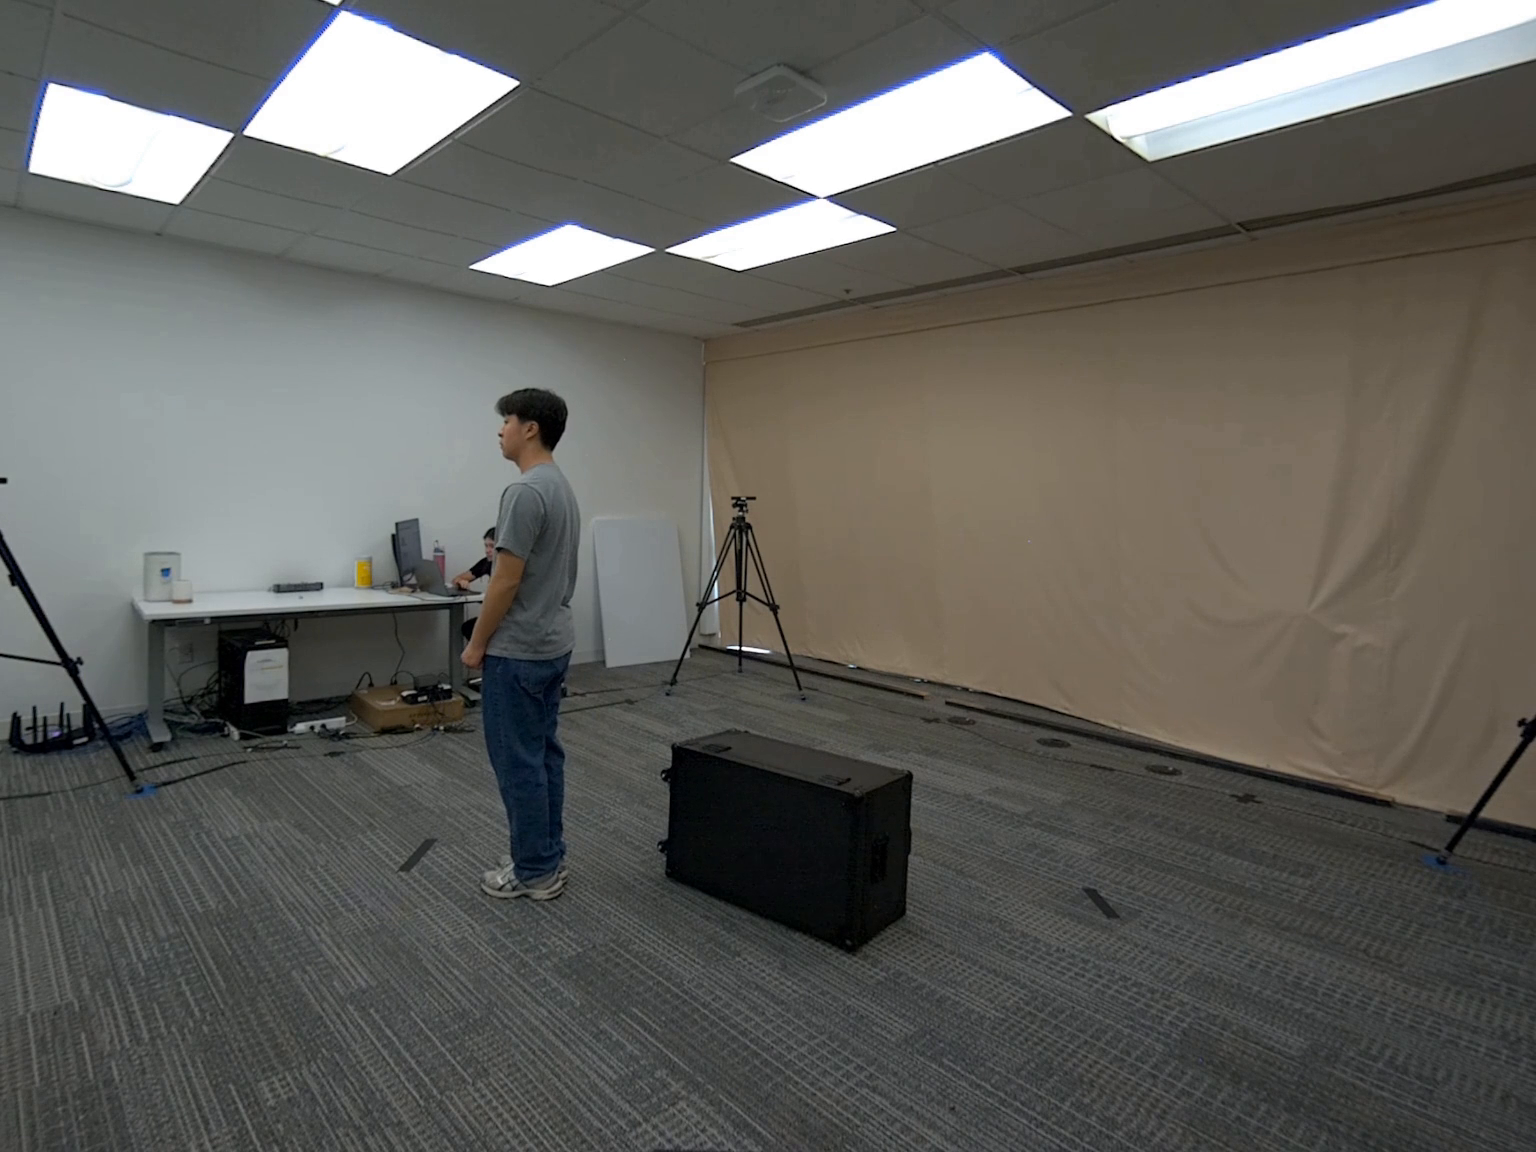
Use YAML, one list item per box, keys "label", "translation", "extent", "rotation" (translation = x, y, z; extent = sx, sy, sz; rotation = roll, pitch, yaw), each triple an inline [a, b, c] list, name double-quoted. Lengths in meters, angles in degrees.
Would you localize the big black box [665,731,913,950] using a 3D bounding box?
- label: "big black box"
  translation: [0.037, 0.866, 2.971]
  extent: [0.882, 0.521, 0.387]
  rotation: [5, 3, 37]
